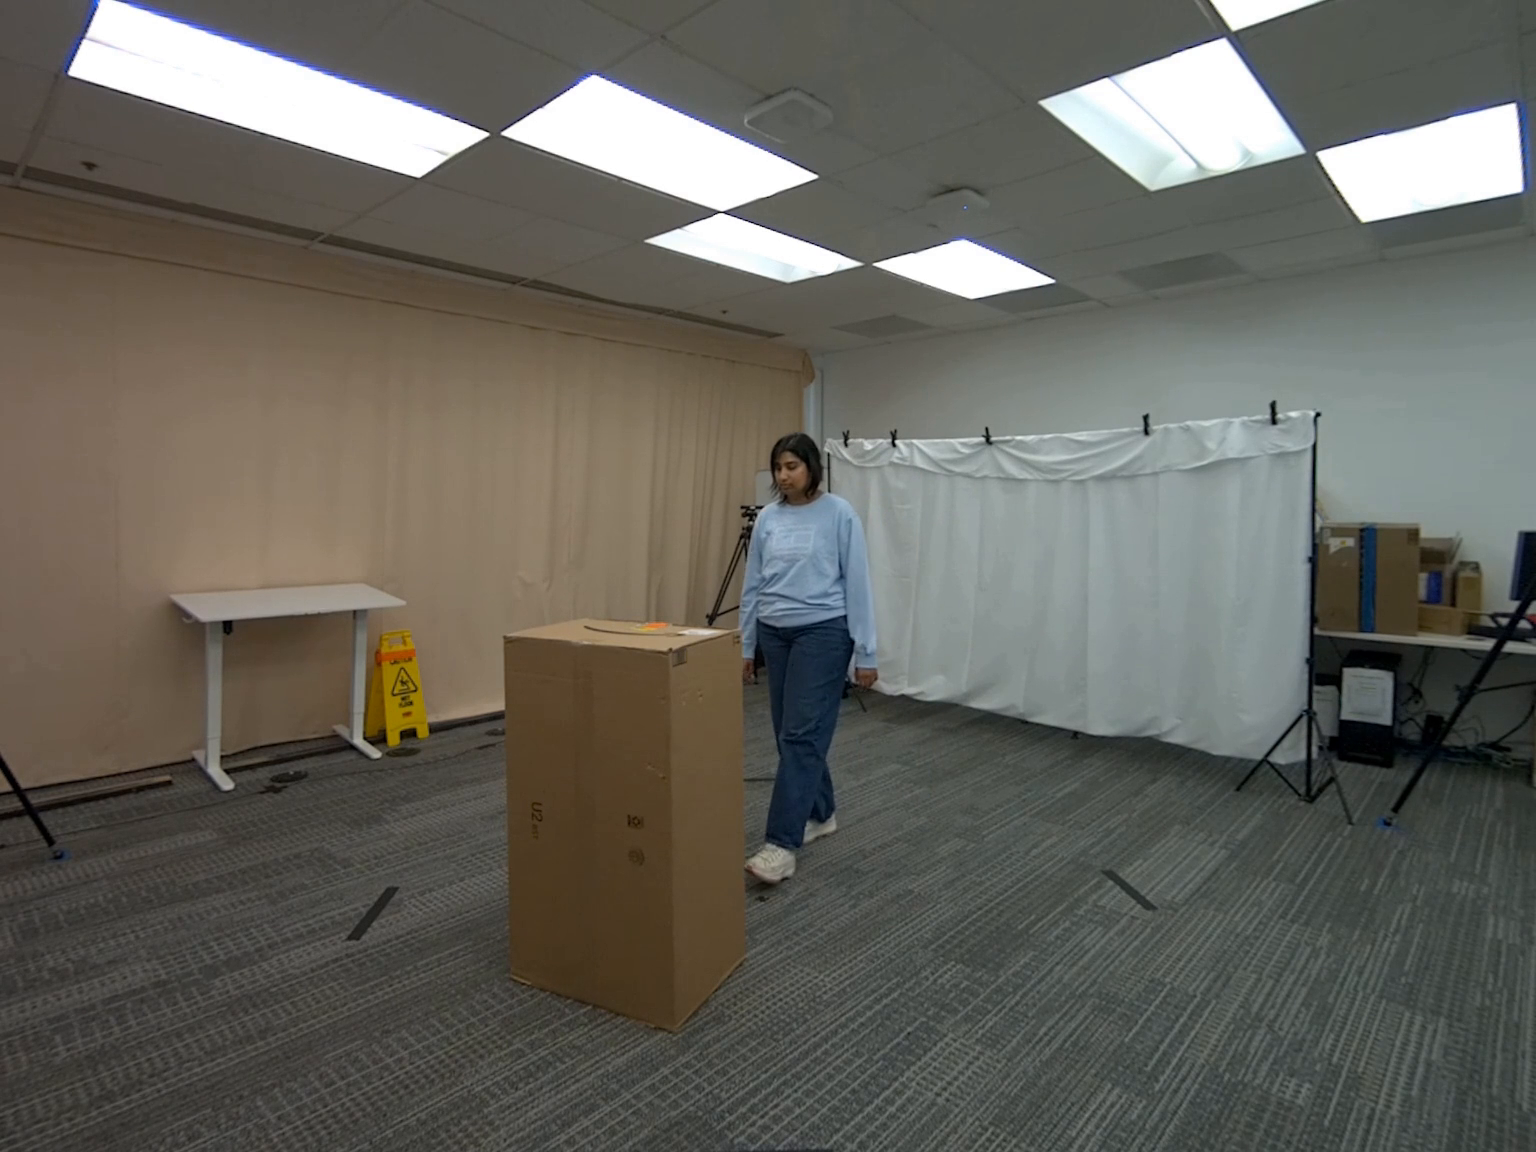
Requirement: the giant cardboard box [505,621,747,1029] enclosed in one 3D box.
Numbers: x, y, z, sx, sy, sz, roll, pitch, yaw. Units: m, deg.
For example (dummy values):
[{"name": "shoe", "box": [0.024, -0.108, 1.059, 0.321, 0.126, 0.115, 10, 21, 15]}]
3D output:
[{"name": "giant cardboard box", "box": [-0.422, 0.675, 2.517, 0.600, 1.025, 0.435, 1, 3, 29]}]
